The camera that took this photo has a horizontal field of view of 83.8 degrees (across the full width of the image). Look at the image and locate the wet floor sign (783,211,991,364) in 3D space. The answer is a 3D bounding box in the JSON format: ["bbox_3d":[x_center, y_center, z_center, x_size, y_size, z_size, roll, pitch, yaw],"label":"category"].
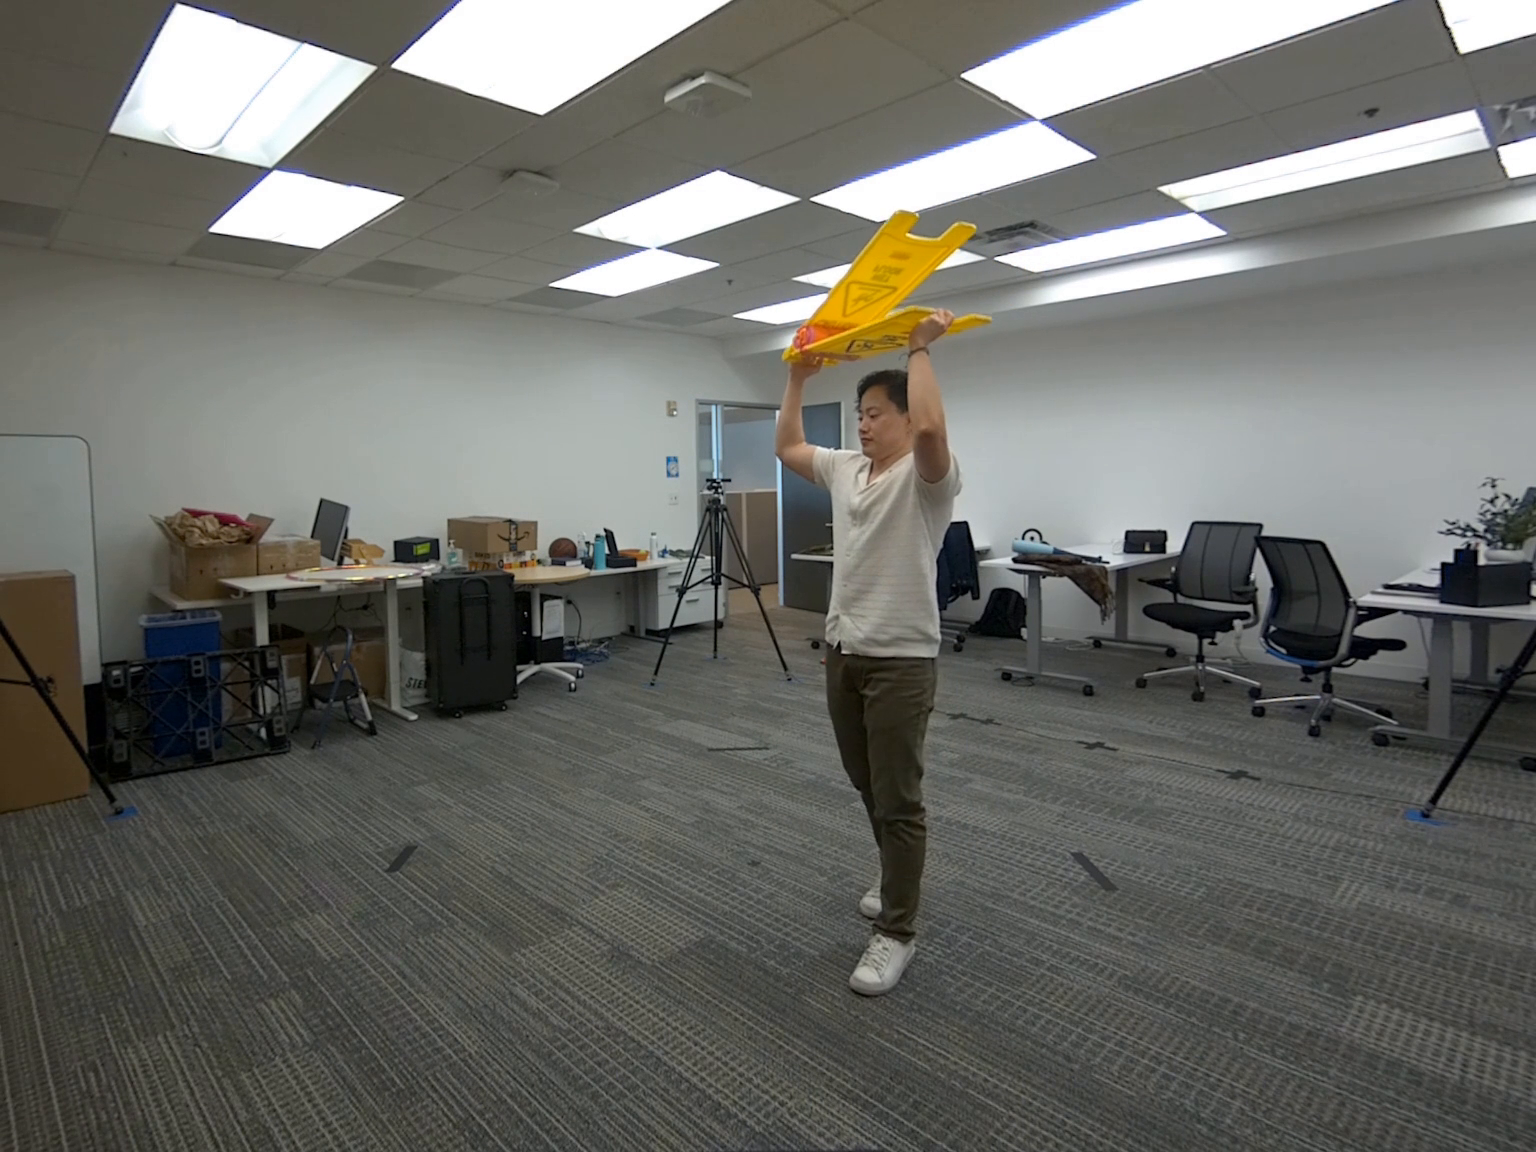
[{"bbox_3d":[0.300,-0.737,2.452,0.275,0.292,0.656,-1,-9,-30],"label":"wet floor sign"}]
